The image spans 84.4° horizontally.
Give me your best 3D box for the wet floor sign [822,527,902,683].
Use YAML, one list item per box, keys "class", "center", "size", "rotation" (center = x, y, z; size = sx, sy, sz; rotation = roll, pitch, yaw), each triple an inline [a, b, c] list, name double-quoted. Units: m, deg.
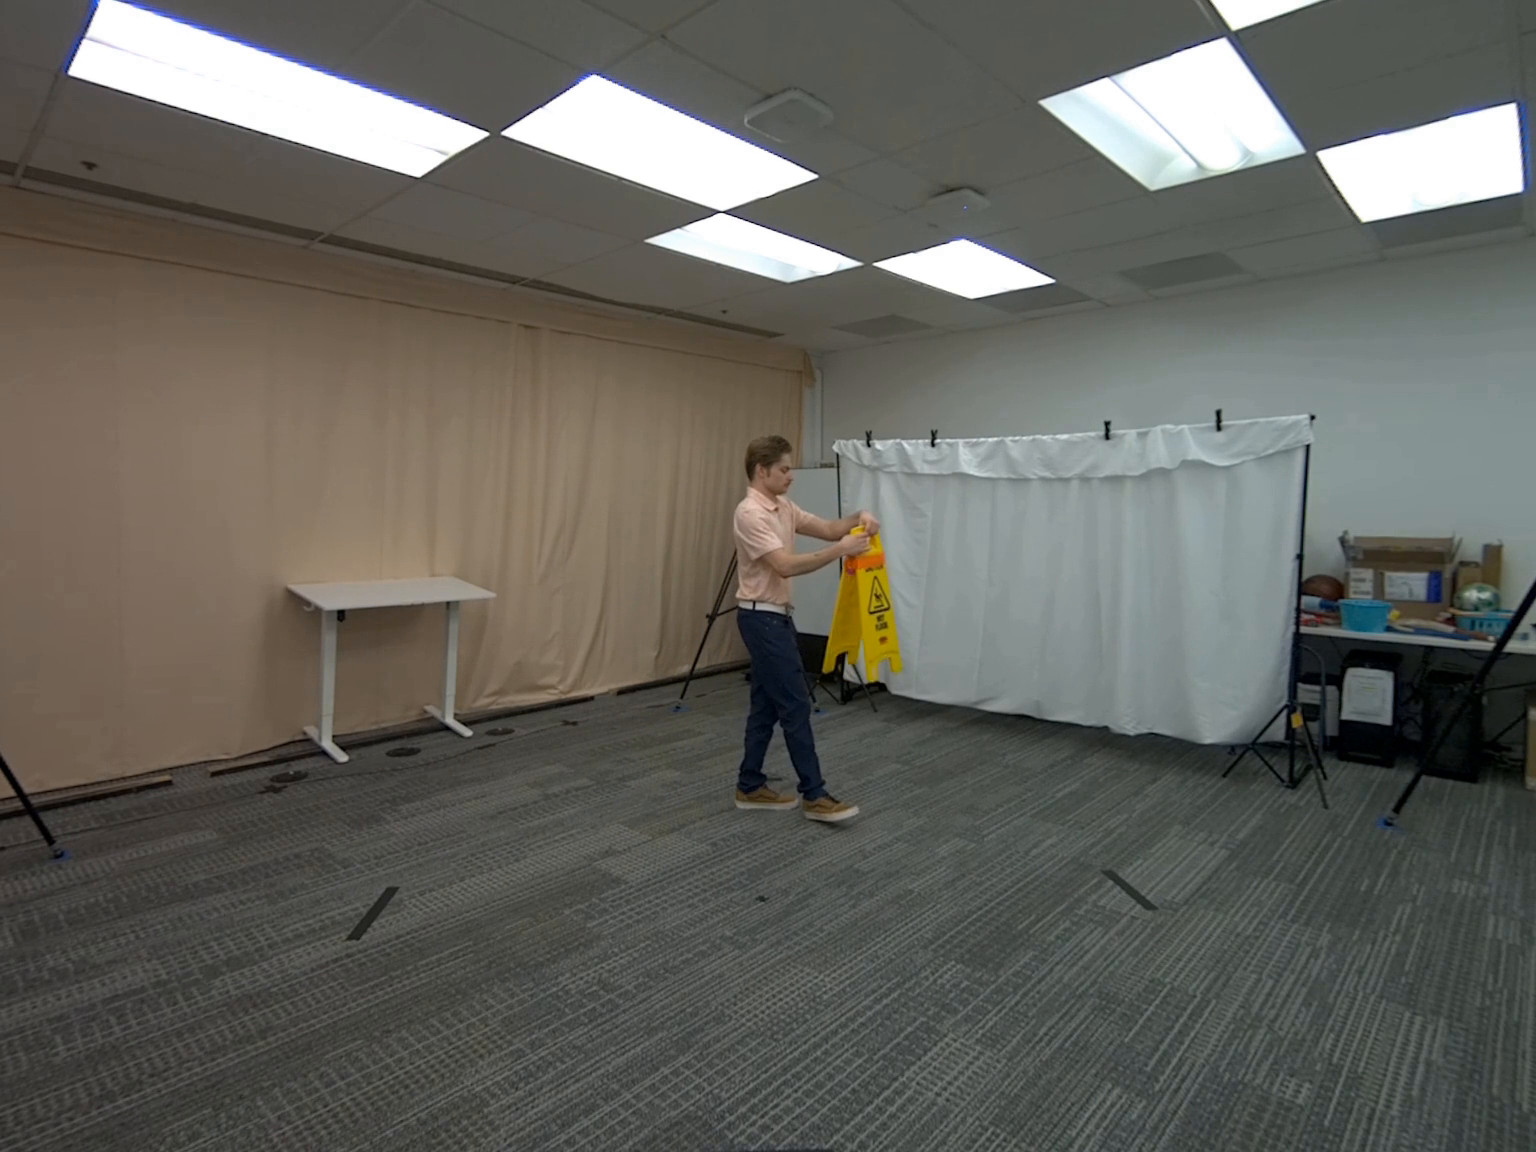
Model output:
- class: "wet floor sign"
  center: [0.423, 0.110, 3.715]
  size: [0.299, 0.643, 0.274]
  rotation: [4, 8, 39]
